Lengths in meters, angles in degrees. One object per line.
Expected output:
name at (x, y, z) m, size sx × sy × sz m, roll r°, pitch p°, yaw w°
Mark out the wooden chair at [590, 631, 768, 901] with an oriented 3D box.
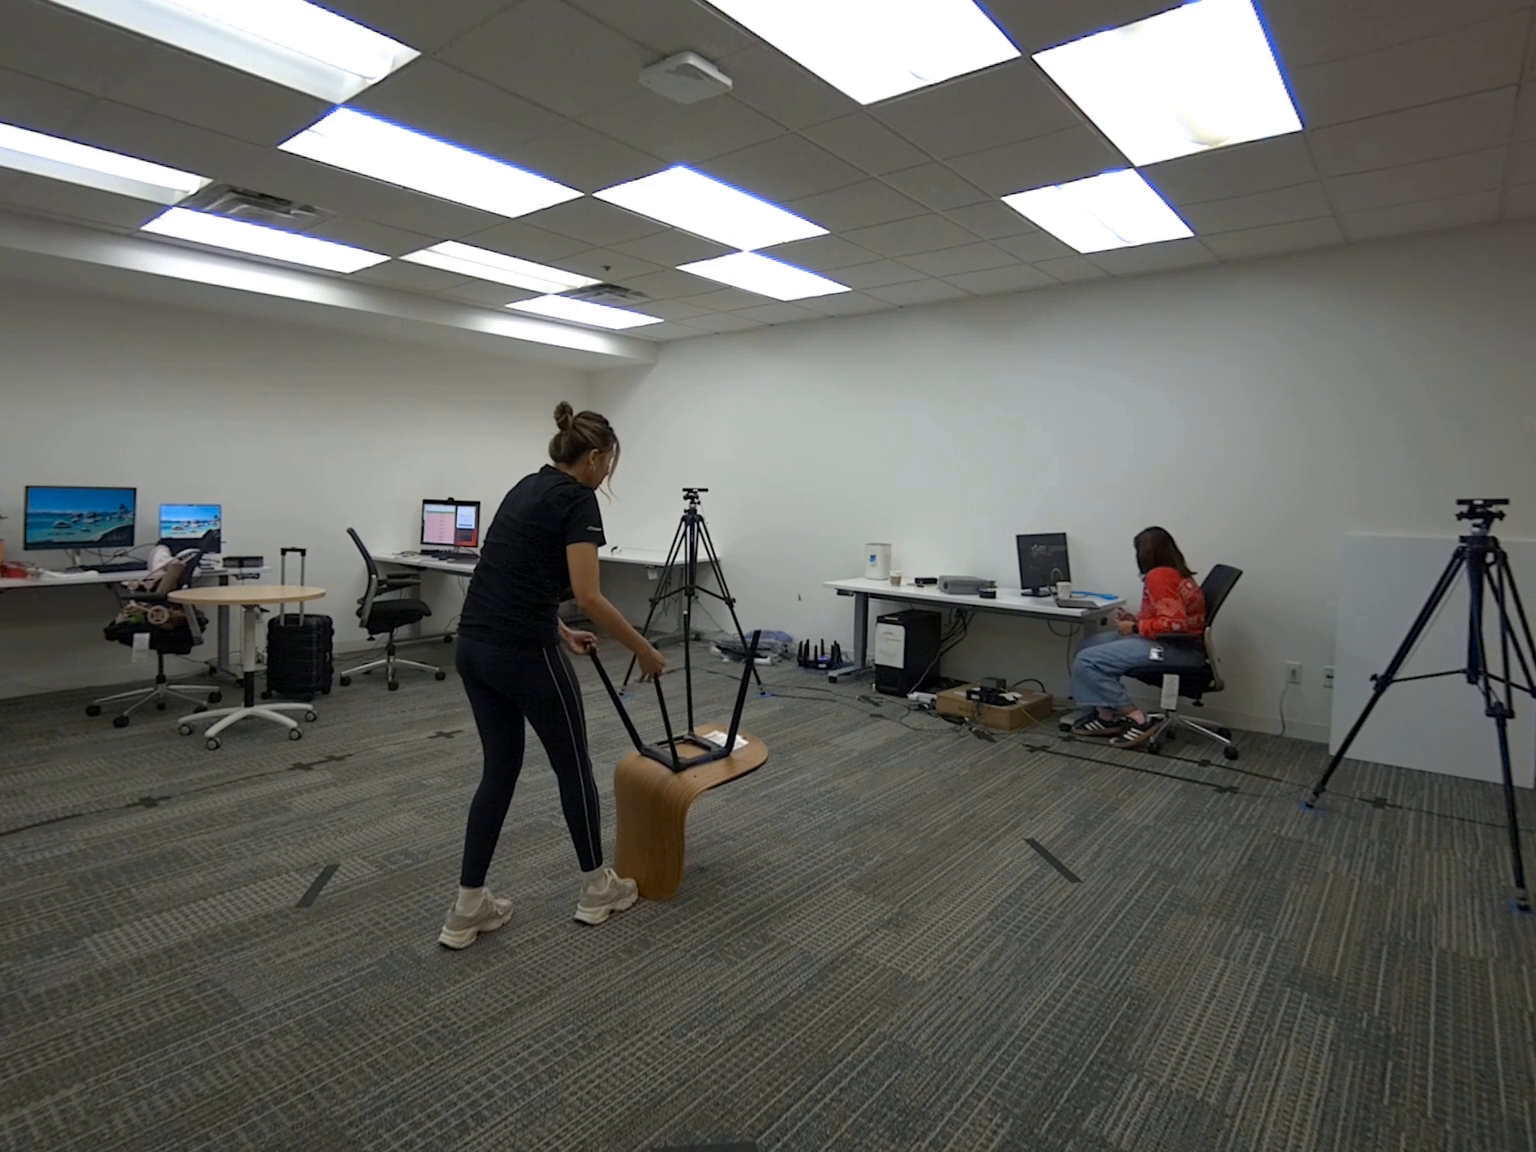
wooden chair at (-0.306, 0.622, 3.048) m, size 0.509 × 0.872 × 0.494 m, roll -8°, pitch 8°, yaw -39°
